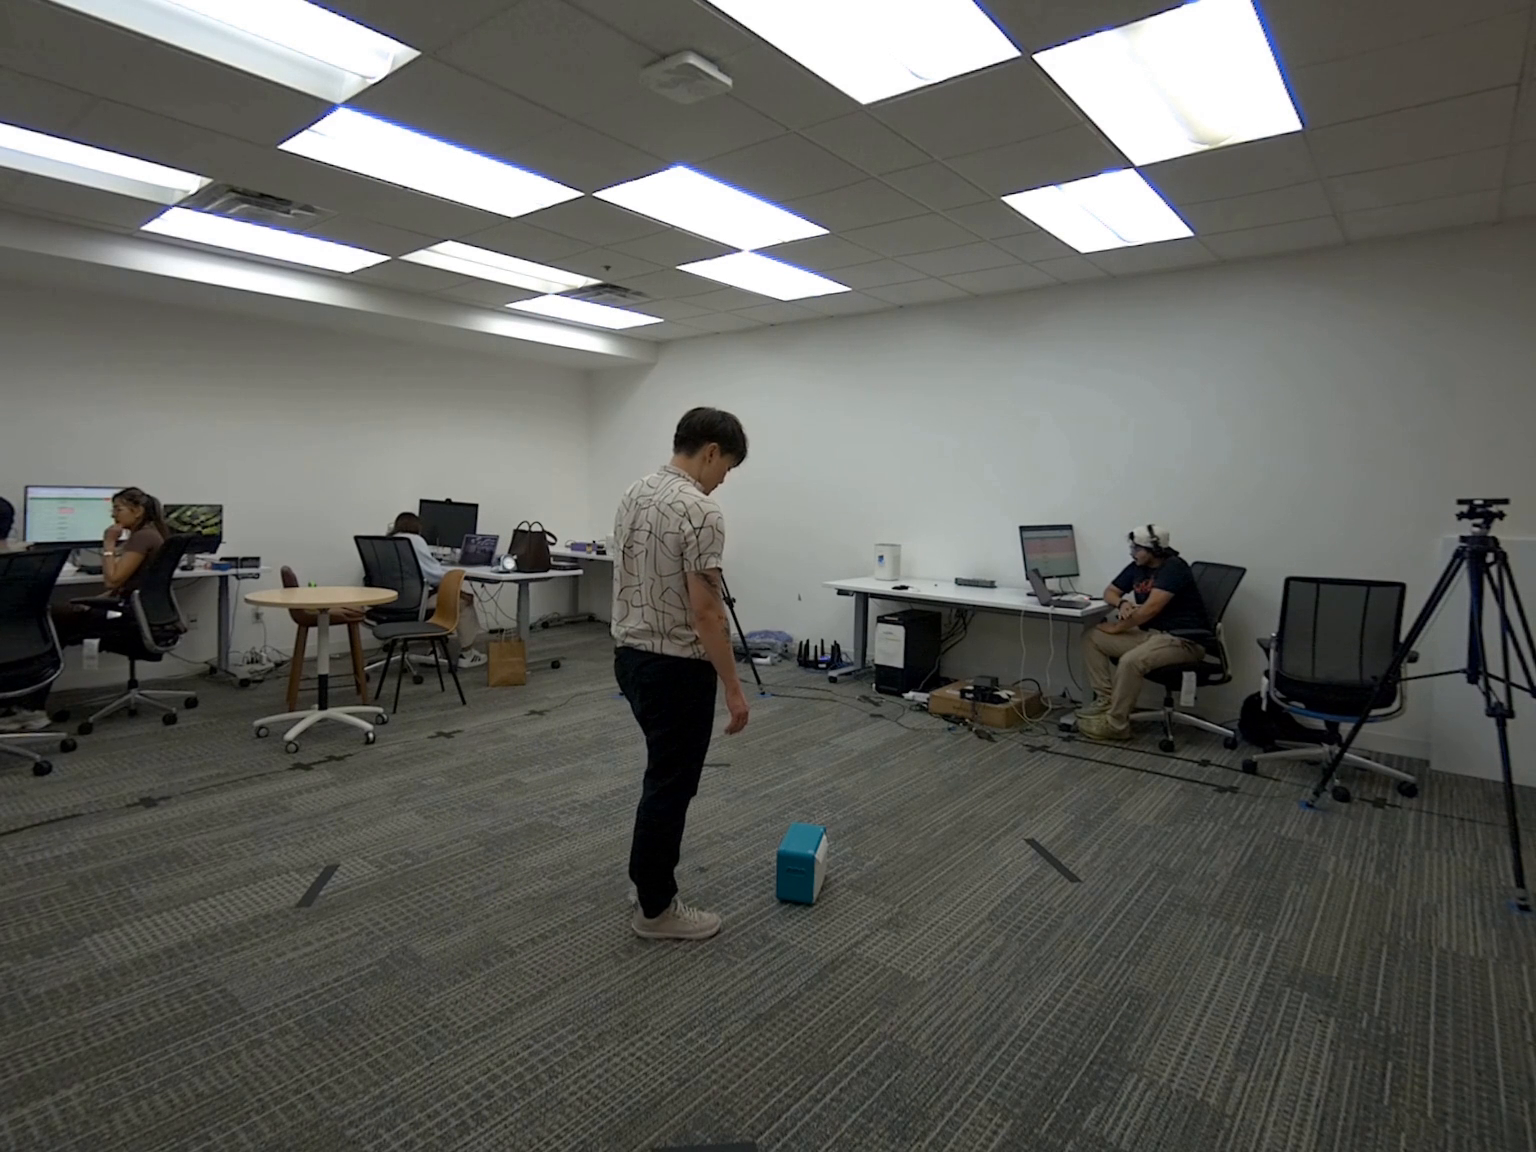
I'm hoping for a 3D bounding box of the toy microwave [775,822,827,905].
[{"bbox_3d":[0.118,0.997,2.975,0.155,0.183,0.283,2,5,13],"label":"toy microwave"}]
